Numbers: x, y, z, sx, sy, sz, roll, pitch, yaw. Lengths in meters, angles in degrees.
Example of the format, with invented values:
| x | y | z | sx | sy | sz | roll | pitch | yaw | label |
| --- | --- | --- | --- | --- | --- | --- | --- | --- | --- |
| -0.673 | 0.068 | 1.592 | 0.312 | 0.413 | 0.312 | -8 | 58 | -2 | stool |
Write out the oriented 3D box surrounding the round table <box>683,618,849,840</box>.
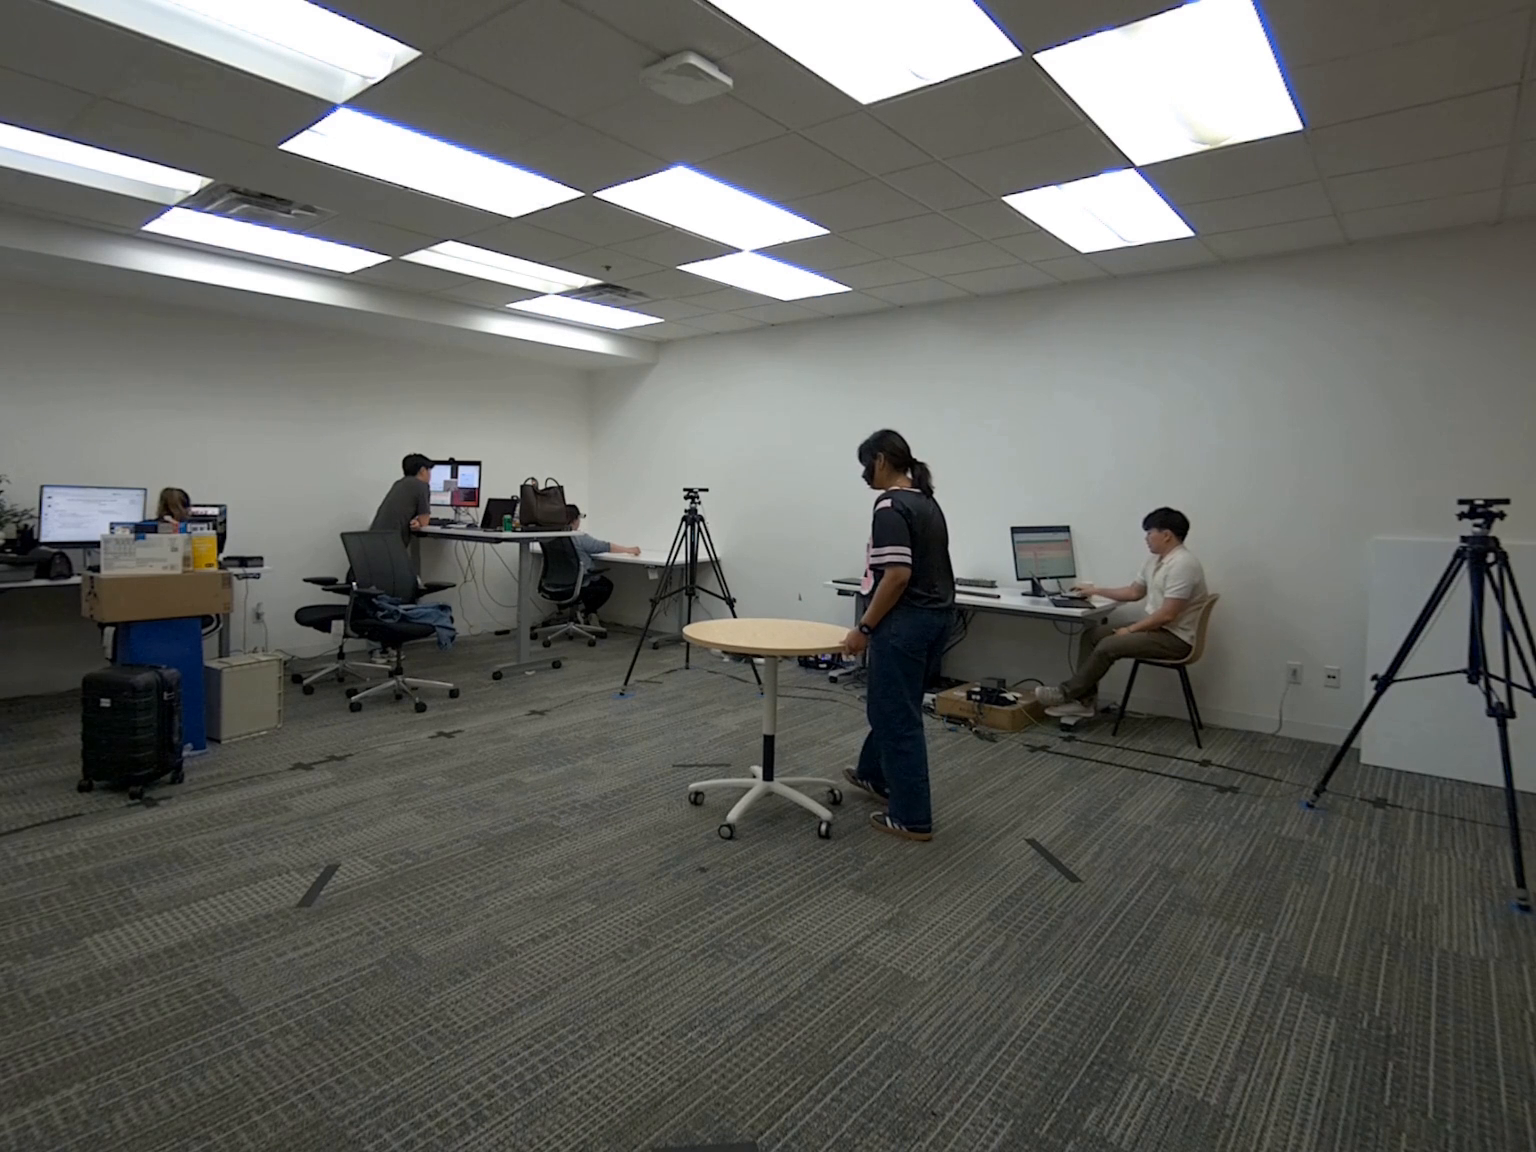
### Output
| x | y | z | sx | sy | sz | roll | pitch | yaw | label |
| --- | --- | --- | --- | --- | --- | --- | --- | --- | --- |
| -0.021 | 0.625 | 3.672 | 0.784 | 0.784 | 0.789 | 2 | 4 | -2 | round table |
